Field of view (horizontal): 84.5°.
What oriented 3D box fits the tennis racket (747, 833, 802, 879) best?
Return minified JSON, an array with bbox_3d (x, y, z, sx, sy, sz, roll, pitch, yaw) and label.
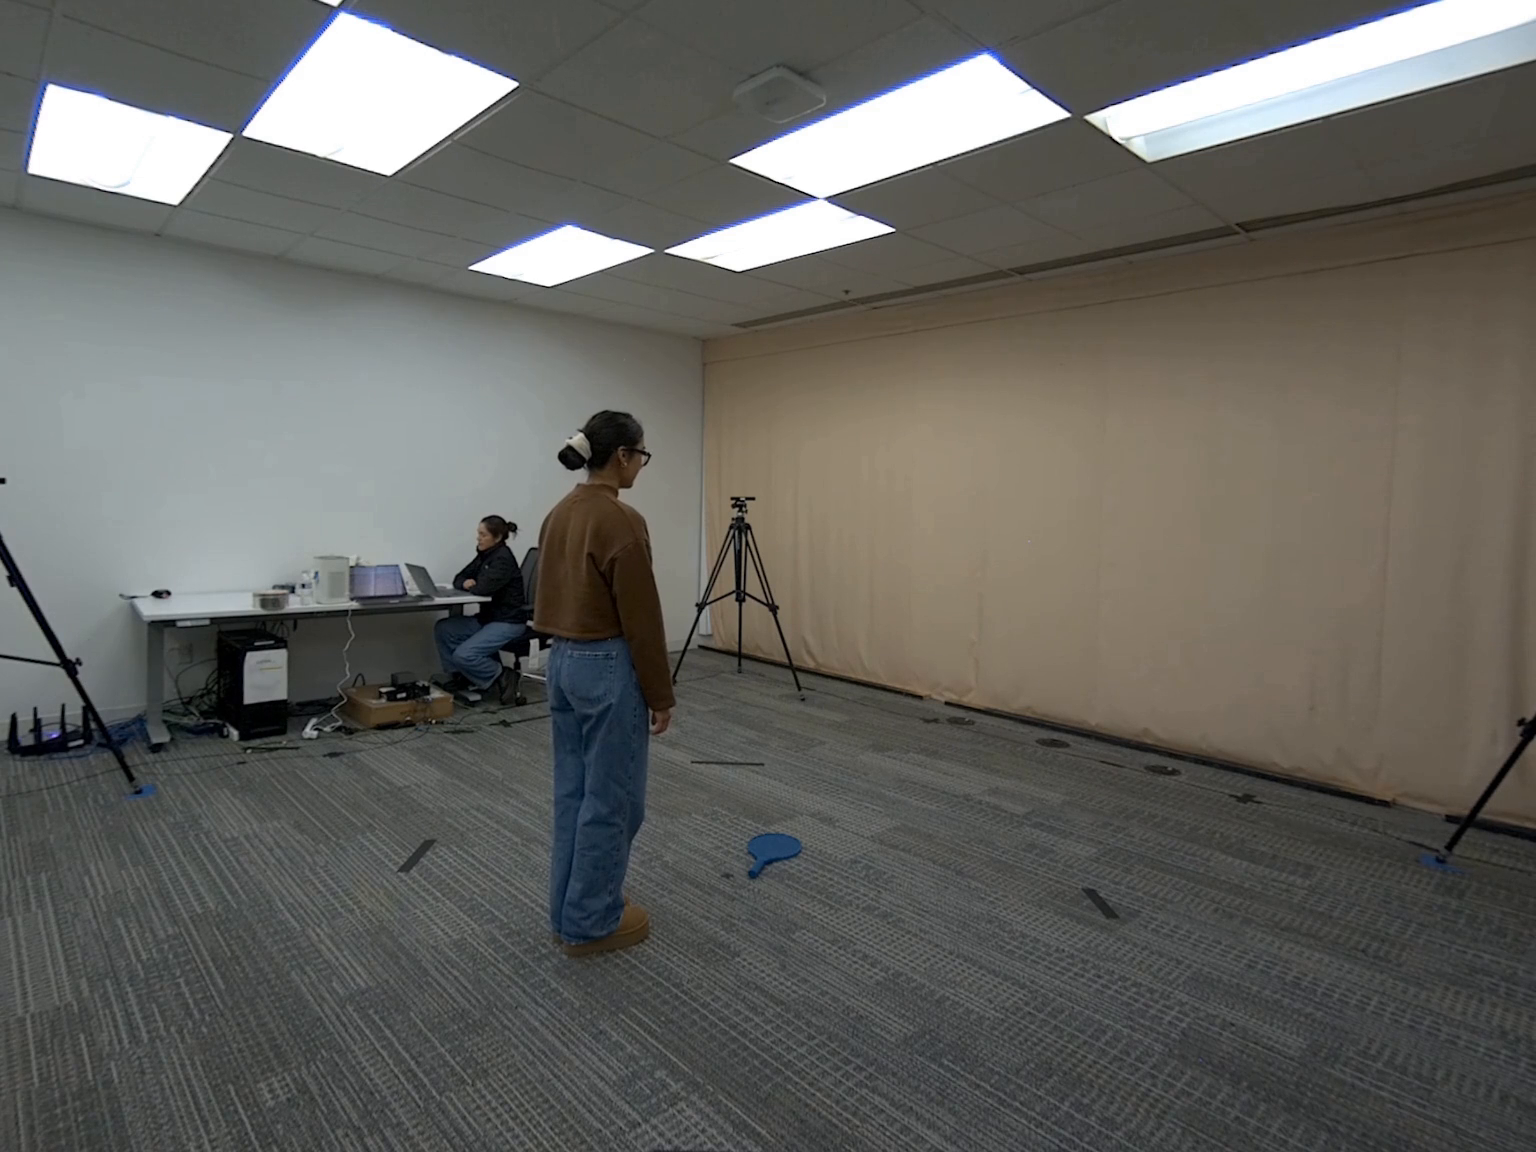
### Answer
[{"bbox_3d":[-0.006,1.079,3.283,0.217,0.032,0.427,2,4,18],"label":"tennis racket"}]
